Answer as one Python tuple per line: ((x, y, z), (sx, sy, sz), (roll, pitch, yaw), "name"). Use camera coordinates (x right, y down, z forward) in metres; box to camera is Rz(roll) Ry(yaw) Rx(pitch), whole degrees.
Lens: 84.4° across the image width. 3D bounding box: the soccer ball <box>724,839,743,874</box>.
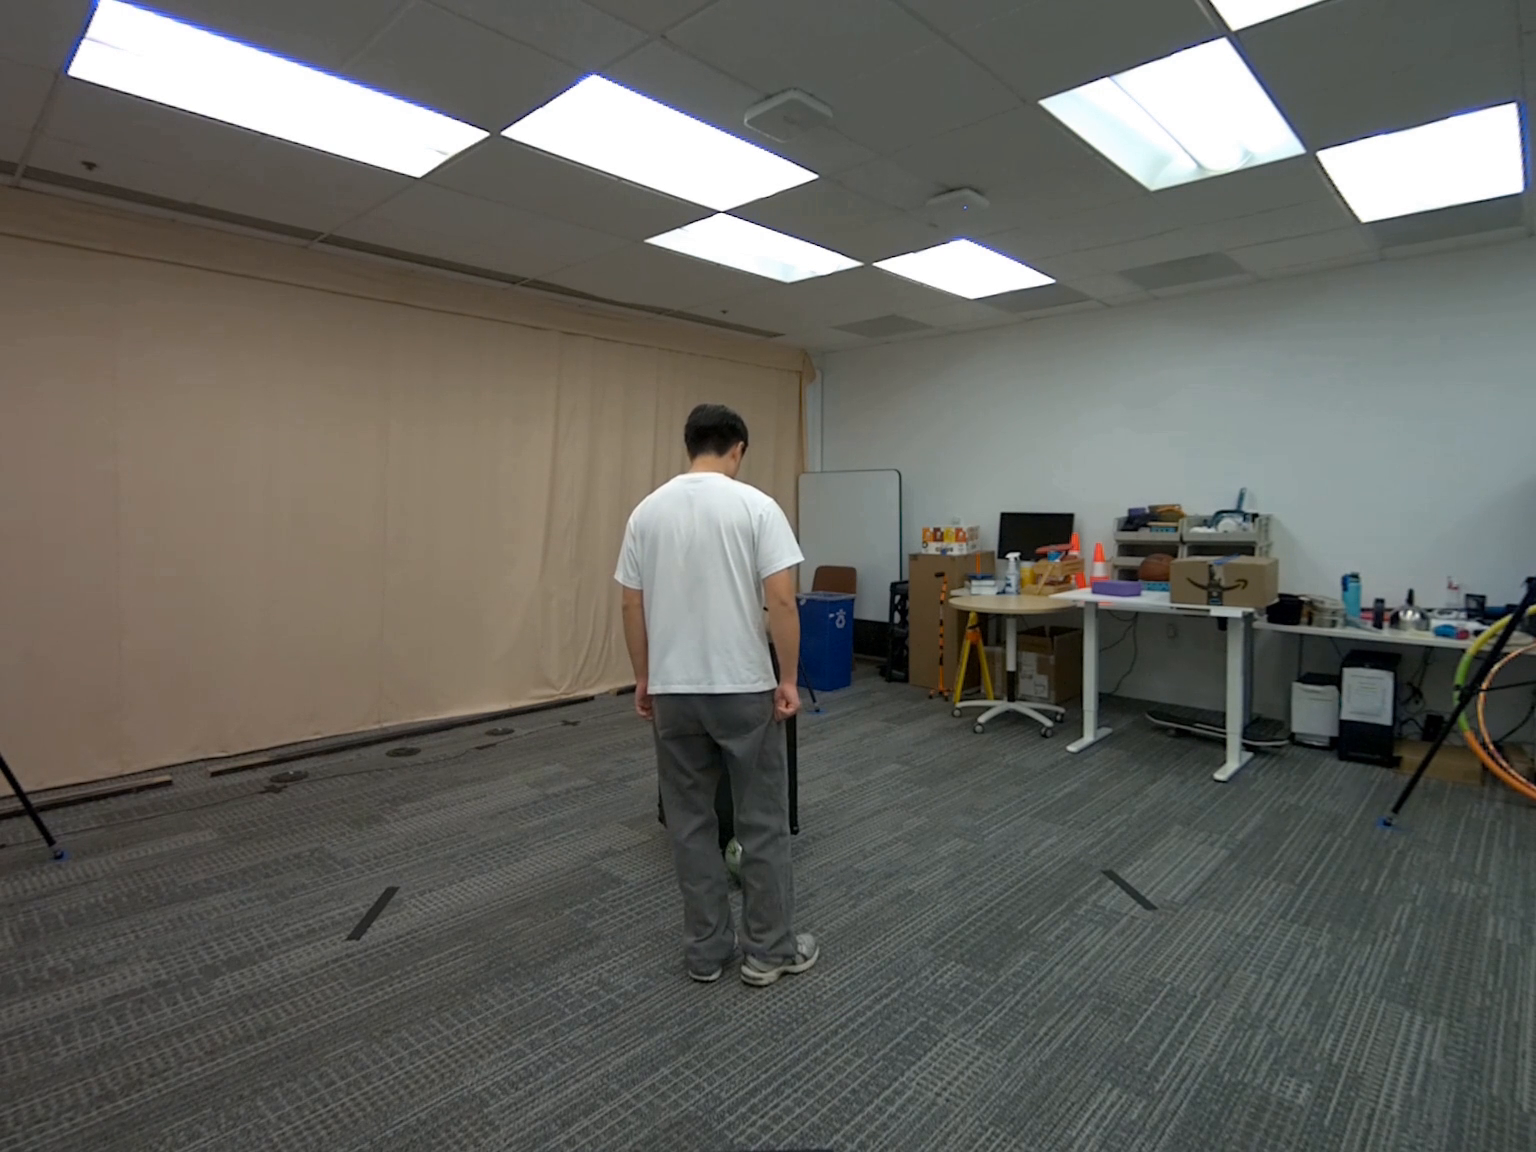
((-0.068, 1.032, 3.101), (0.187, 0.187, 0.188), (0, 4, -2), "soccer ball")
